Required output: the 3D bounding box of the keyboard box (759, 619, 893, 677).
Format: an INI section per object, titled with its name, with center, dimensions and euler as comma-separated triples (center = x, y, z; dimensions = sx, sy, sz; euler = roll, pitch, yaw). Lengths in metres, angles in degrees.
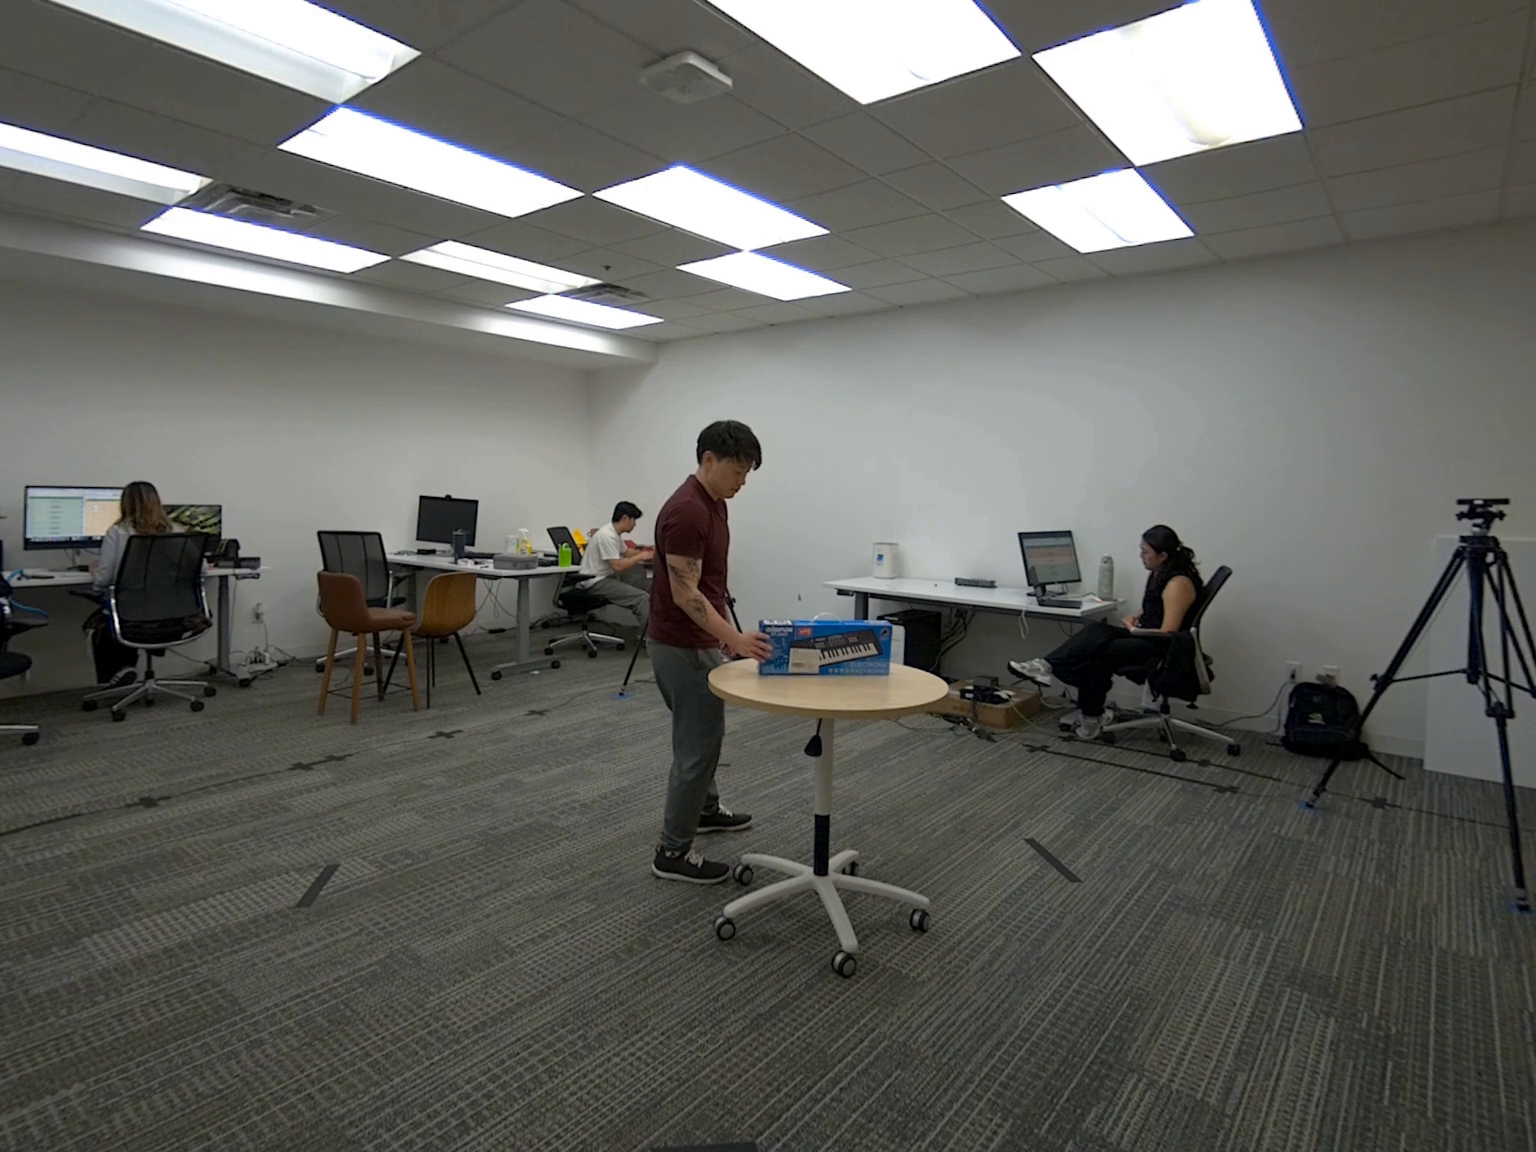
[keyboard box]
center = 0.184, 0.234, 2.816
dimensions = 0.434, 0.174, 0.060
euler = 0, 9, -5
